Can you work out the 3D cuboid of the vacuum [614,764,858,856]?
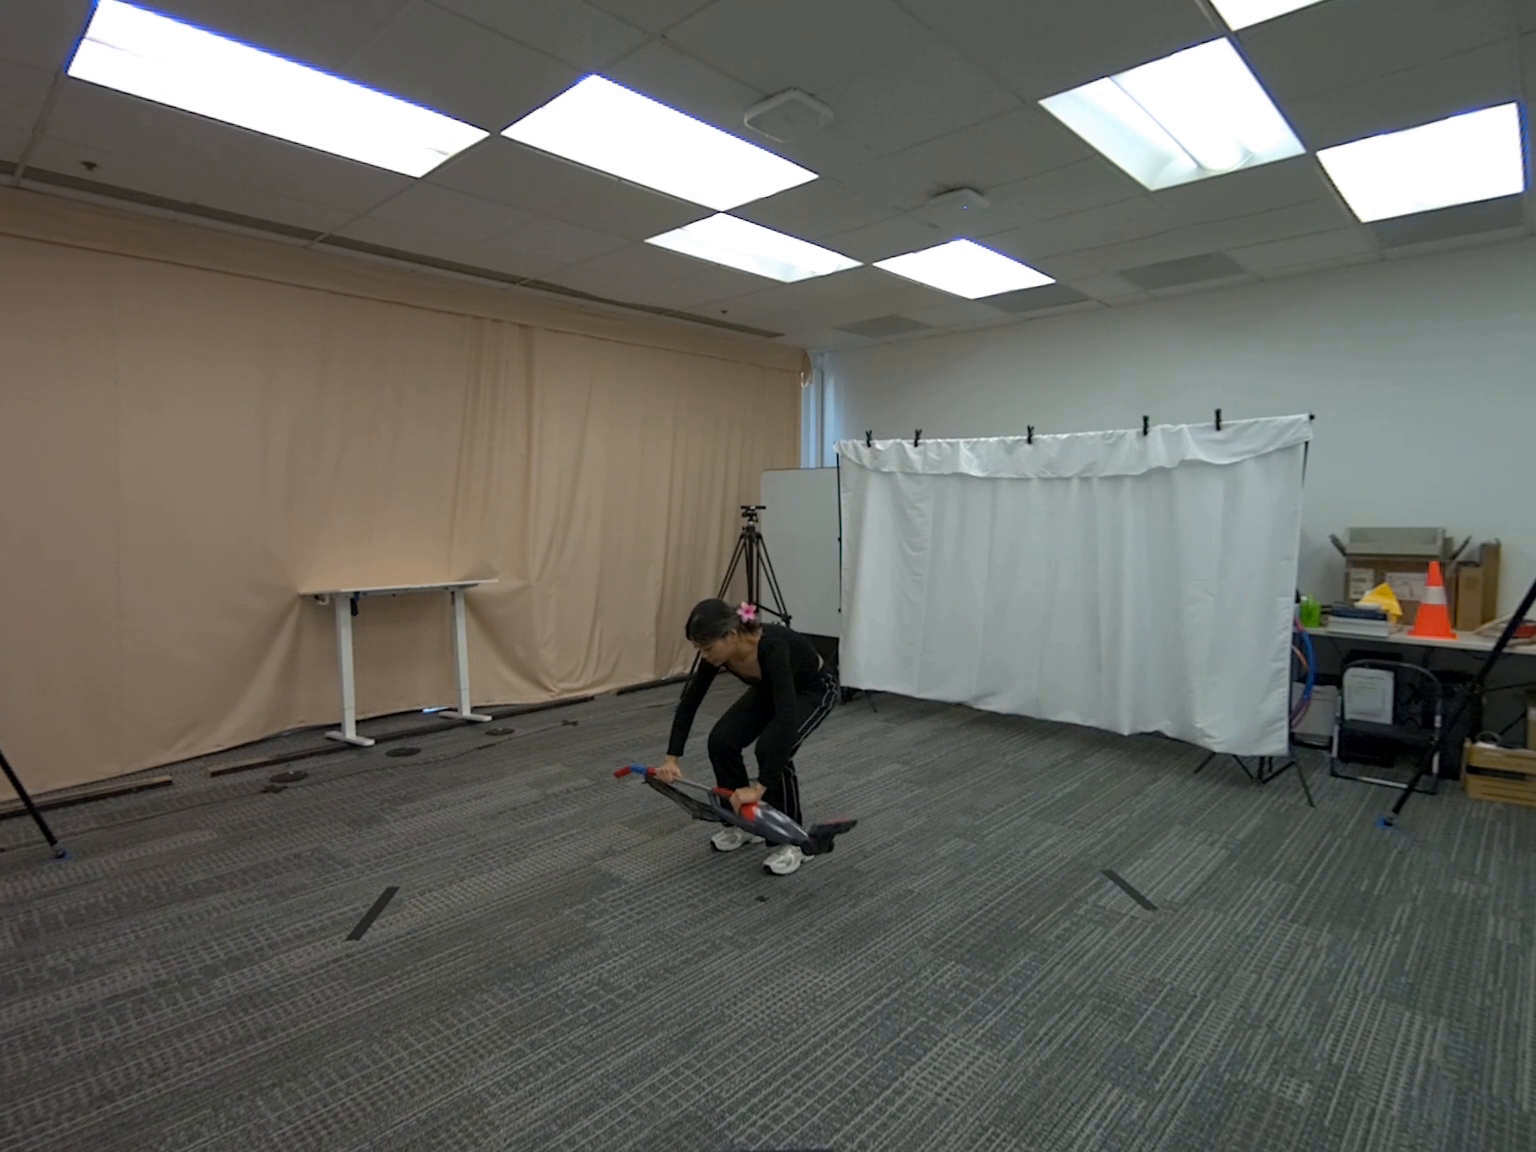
[{"bbox_3d":[-0.221,0.847,3.141,1.084,0.144,0.243,3,-9,39],"label":"vacuum"}]
